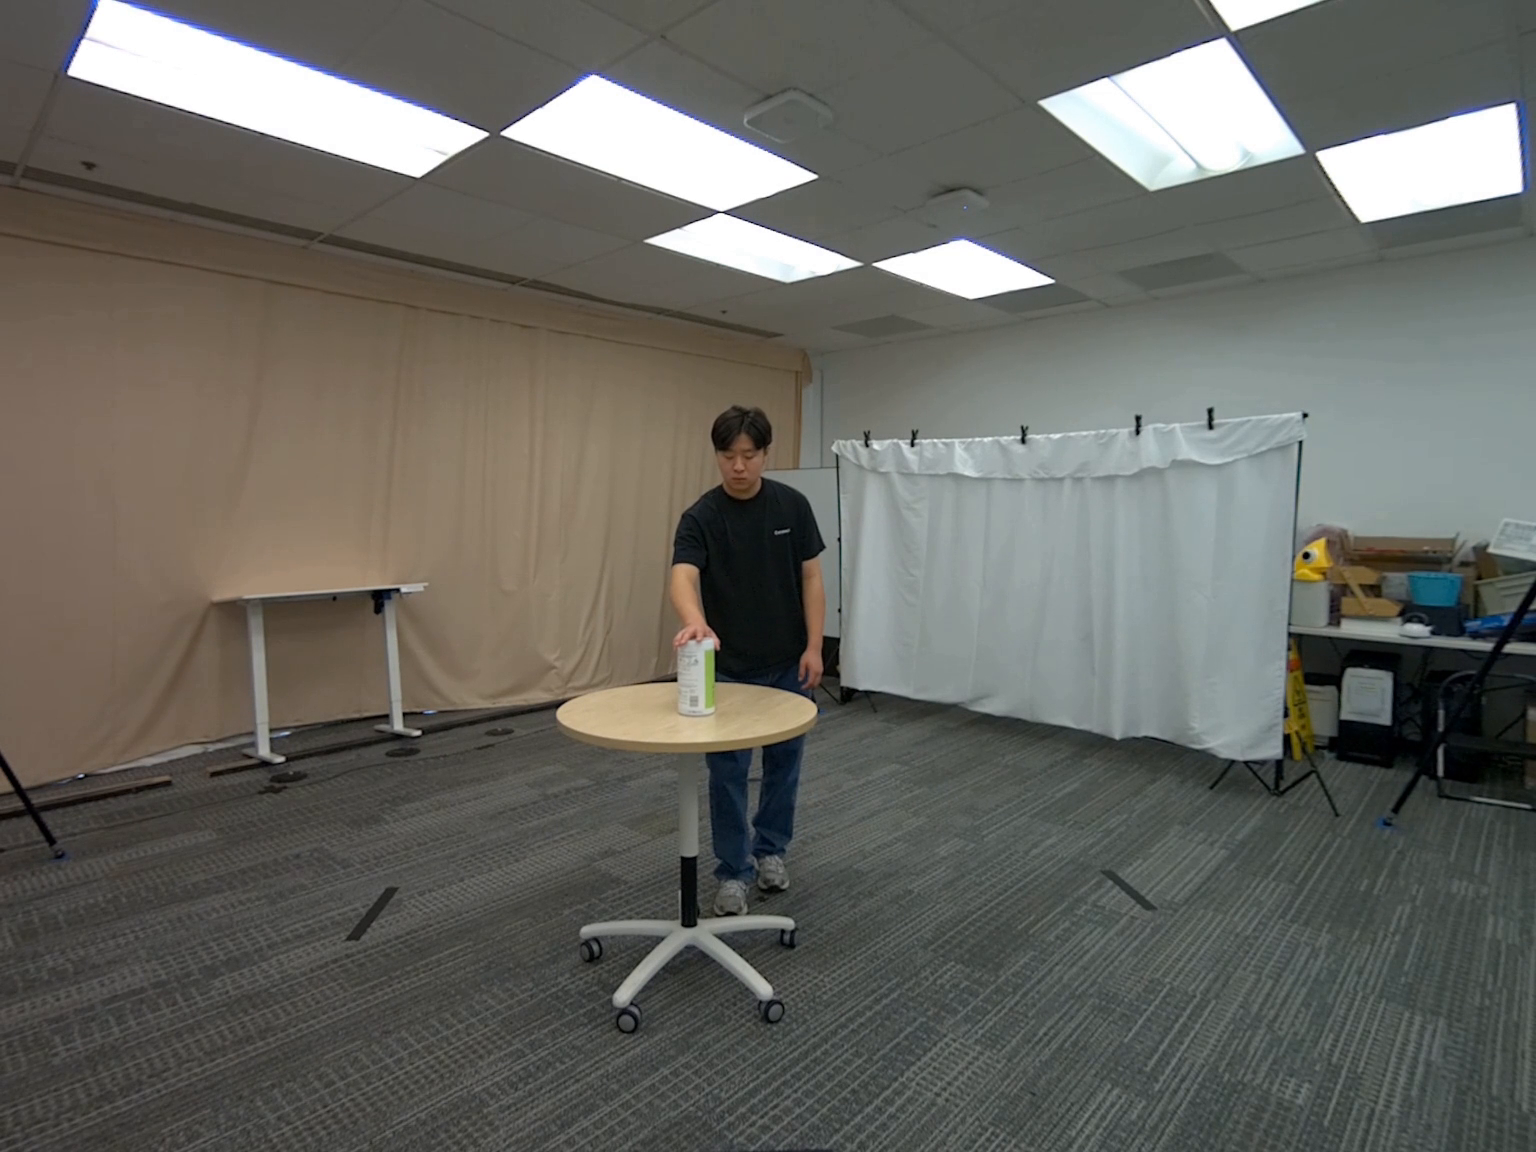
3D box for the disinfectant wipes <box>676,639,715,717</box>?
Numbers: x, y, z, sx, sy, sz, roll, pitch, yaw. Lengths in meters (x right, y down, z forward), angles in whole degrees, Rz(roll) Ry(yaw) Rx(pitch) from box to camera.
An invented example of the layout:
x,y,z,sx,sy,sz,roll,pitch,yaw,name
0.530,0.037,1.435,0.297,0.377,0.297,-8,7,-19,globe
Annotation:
x,y,z,sx,sy,sz,roll,pitch,yaw,name
-0.203,0.288,2.430,0.118,0.217,0.118,1,1,-2,disinfectant wipes
